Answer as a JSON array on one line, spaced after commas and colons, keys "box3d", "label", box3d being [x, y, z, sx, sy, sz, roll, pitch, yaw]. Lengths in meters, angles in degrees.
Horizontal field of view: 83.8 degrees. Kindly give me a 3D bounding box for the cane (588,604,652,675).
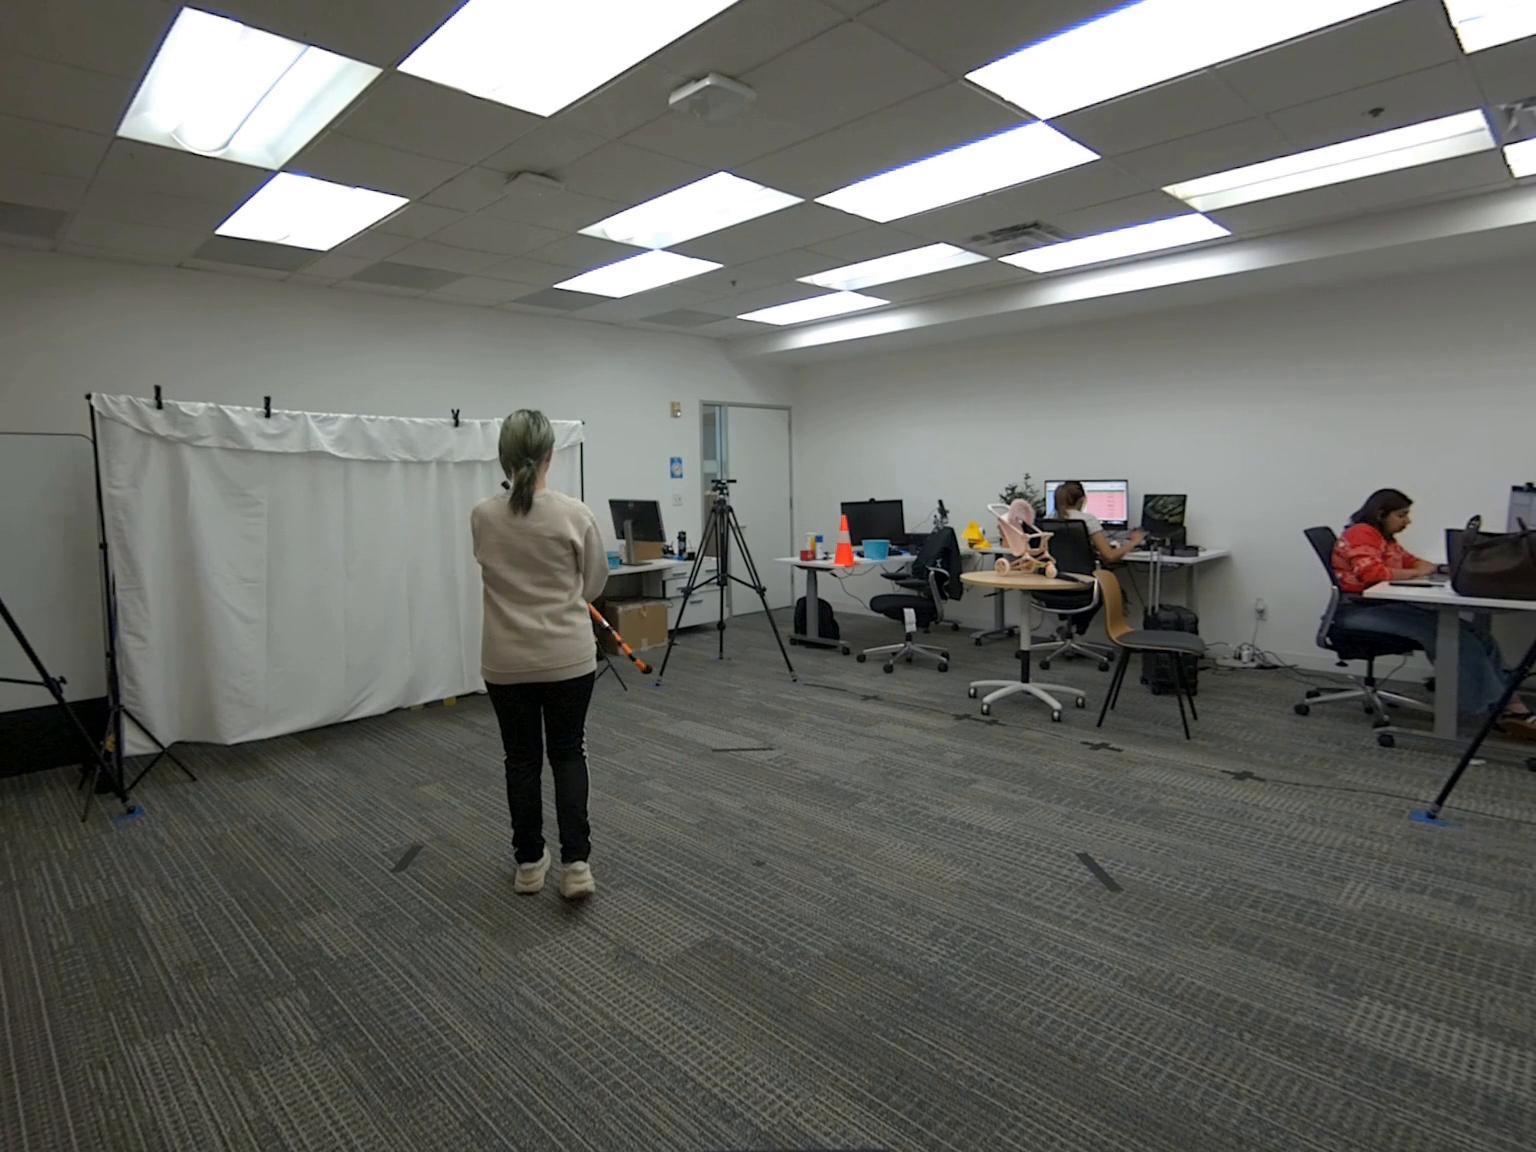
[{"box3d": [-0.748, 0.028, 3.312, 0.151, 0.918, 0.204, -41, -8, -11], "label": "cane"}]
